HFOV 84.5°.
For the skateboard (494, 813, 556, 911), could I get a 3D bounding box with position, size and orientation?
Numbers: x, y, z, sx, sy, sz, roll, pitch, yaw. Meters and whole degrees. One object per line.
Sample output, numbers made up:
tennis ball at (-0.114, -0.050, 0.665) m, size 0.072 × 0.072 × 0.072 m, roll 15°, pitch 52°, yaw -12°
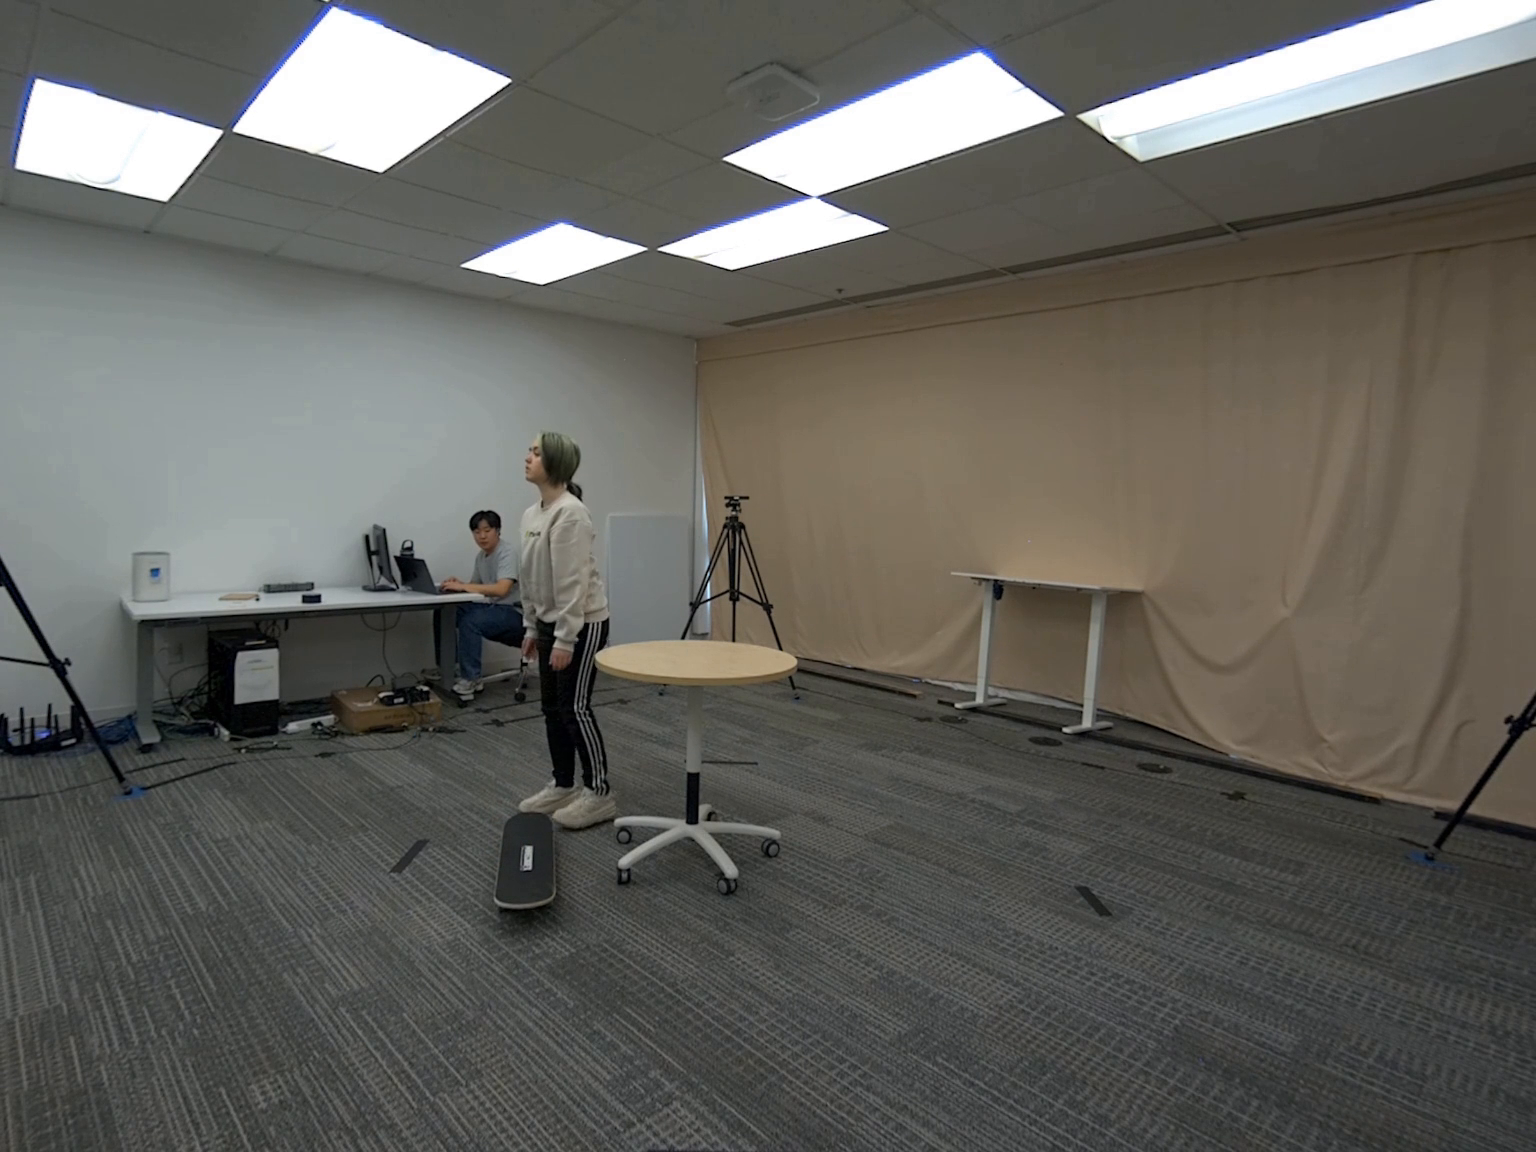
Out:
skateboard at (-0.859, 1.033, 3.011) m, size 0.191 × 0.110 × 0.796 m, roll -2°, pitch 5°, yaw -14°
